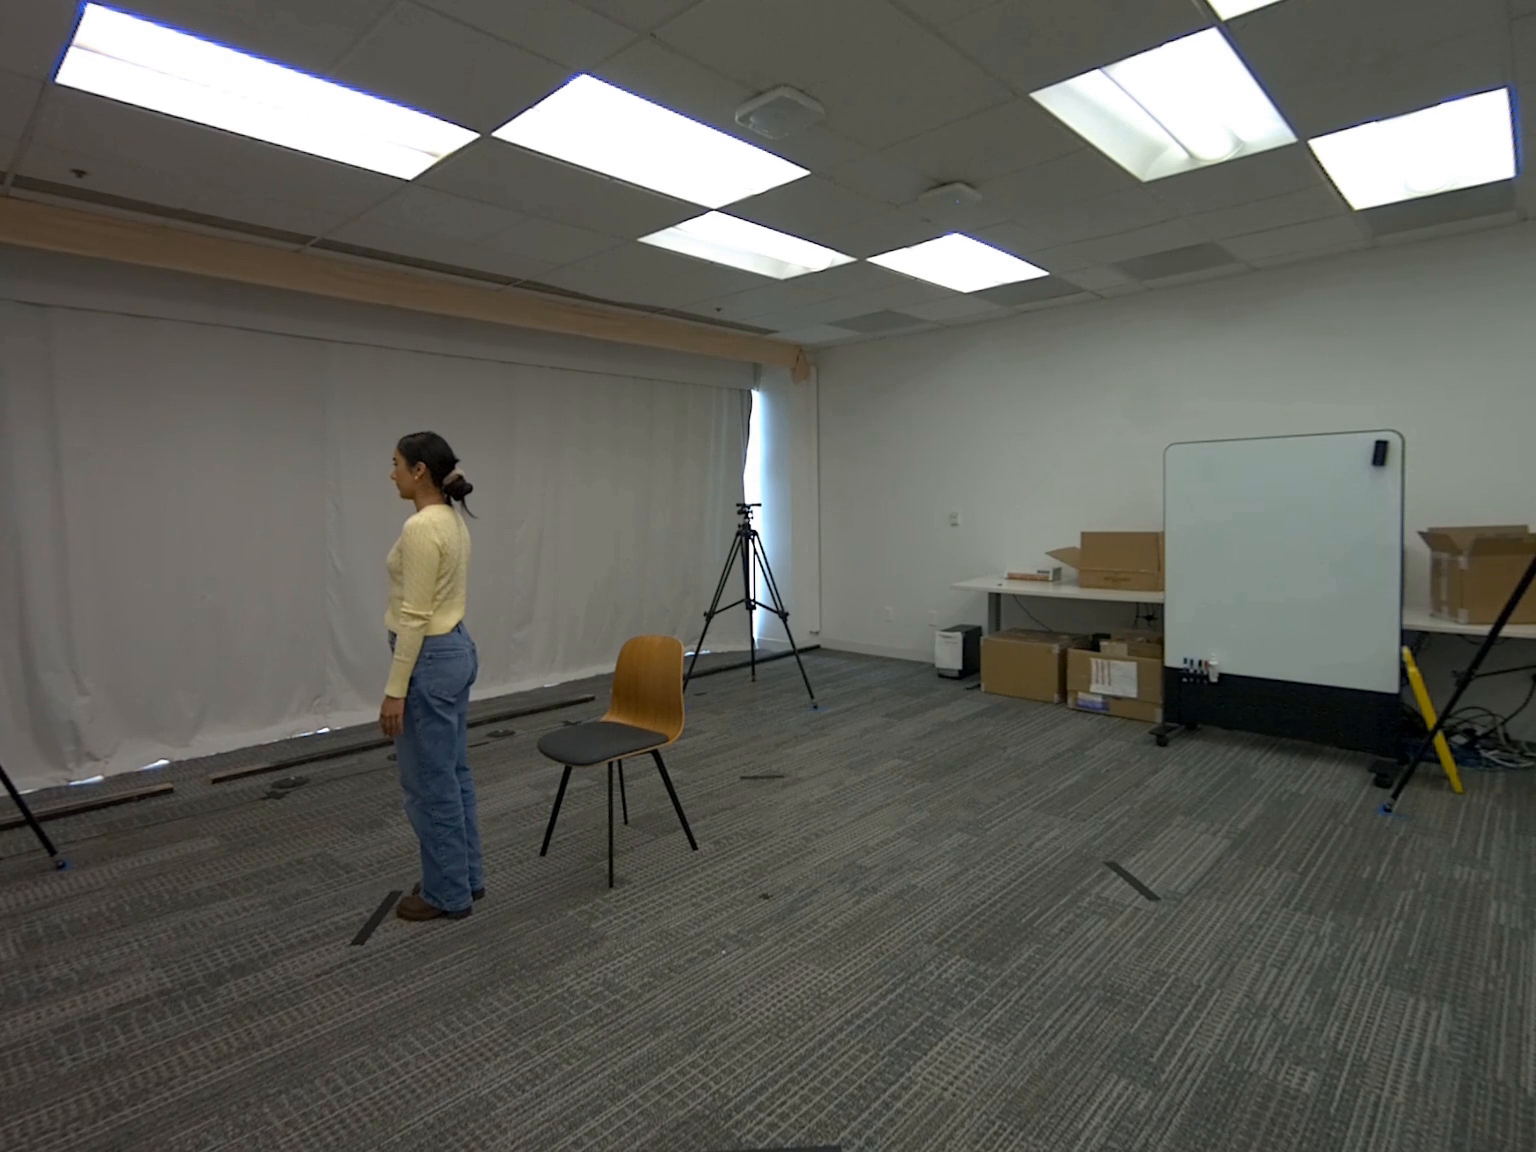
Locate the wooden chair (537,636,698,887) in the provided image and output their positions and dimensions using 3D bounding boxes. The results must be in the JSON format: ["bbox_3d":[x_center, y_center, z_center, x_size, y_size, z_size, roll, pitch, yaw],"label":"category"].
[{"bbox_3d":[-0.609,0.691,3.357,0.494,0.877,0.506,2,1,42],"label":"wooden chair"}]
